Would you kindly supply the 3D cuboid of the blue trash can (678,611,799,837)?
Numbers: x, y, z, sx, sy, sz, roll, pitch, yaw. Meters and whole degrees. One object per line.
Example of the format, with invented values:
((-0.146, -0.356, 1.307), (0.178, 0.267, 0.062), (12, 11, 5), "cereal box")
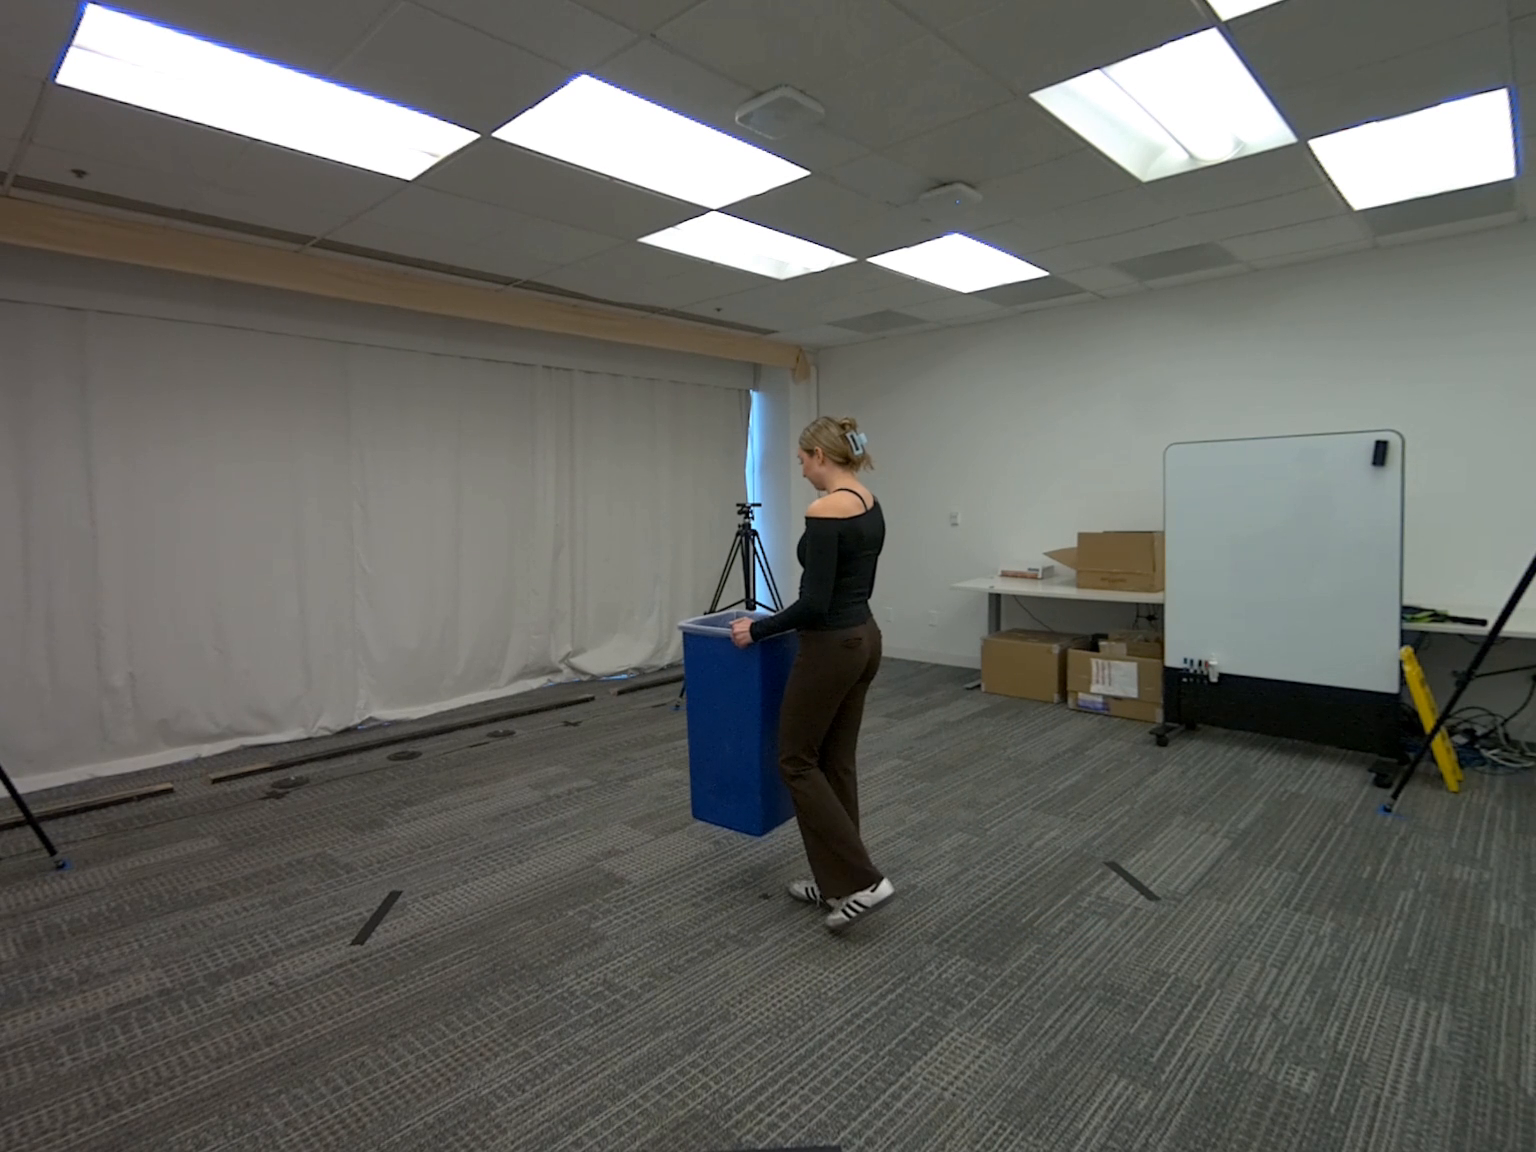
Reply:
((-0.072, 0.514, 3.024), (0.390, 0.712, 0.363), (3, 5, 35), "blue trash can")
